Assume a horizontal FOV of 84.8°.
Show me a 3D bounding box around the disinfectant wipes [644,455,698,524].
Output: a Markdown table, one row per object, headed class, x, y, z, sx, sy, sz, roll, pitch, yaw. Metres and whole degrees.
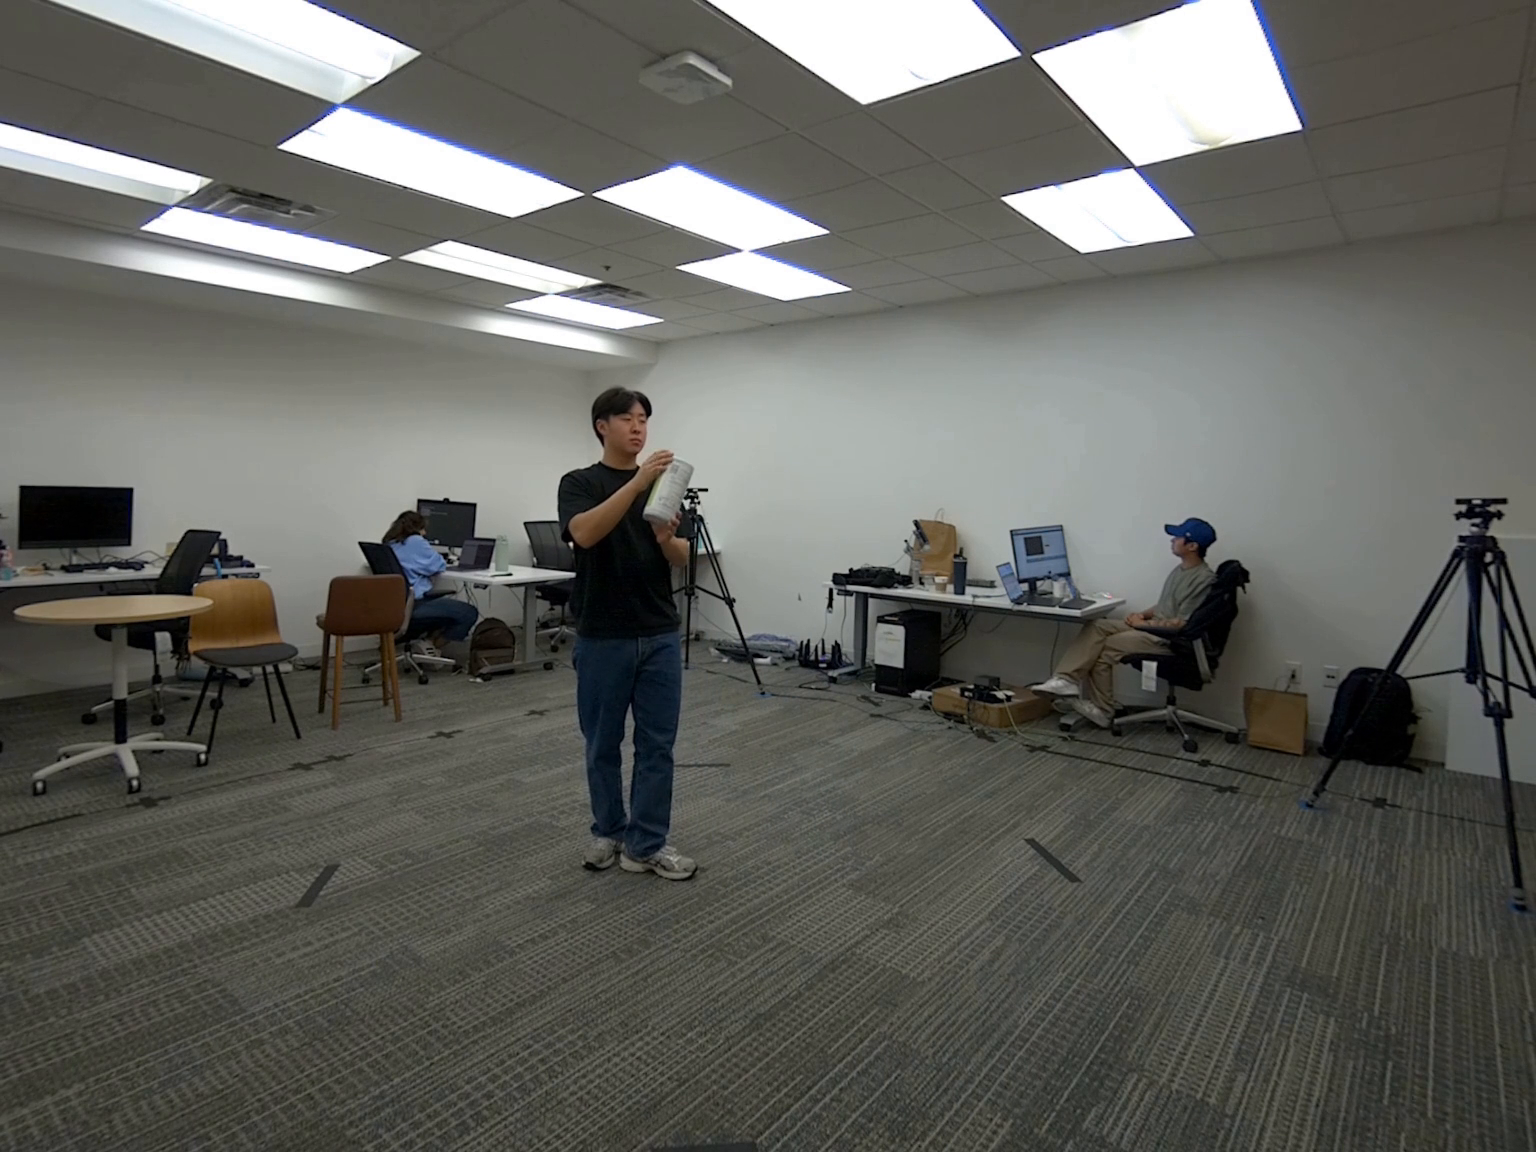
| class | x | y | z | sx | sy | sz | roll | pitch | yaw |
| --- | --- | --- | --- | --- | --- | --- | --- | --- | --- |
| disinfectant wipes | -0.331 | -0.286 | 2.840 | 0.118 | 0.219 | 0.116 | 18 | -13 | 2 |
